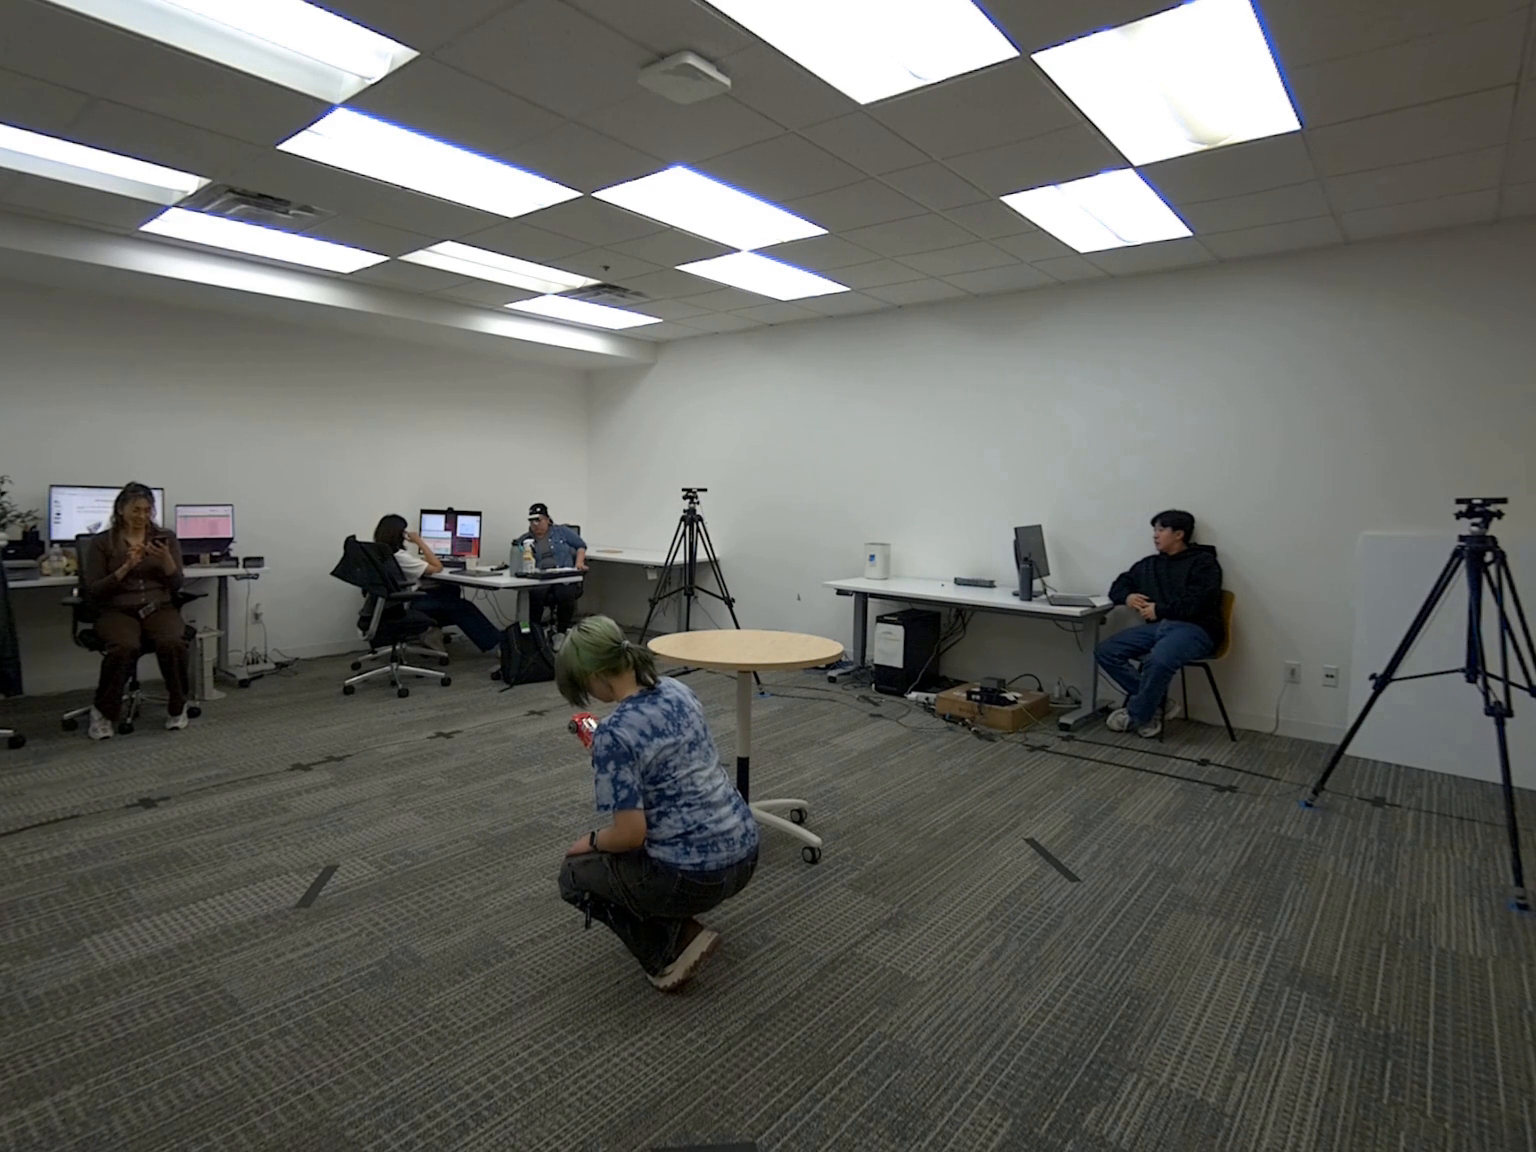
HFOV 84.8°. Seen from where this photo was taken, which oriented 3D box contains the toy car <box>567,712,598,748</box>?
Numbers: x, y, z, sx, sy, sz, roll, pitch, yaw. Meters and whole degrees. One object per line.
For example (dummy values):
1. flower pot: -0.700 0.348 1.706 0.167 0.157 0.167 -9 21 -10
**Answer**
1. toy car: -0.546 0.550 2.738 0.264 0.083 0.126 37 13 27
